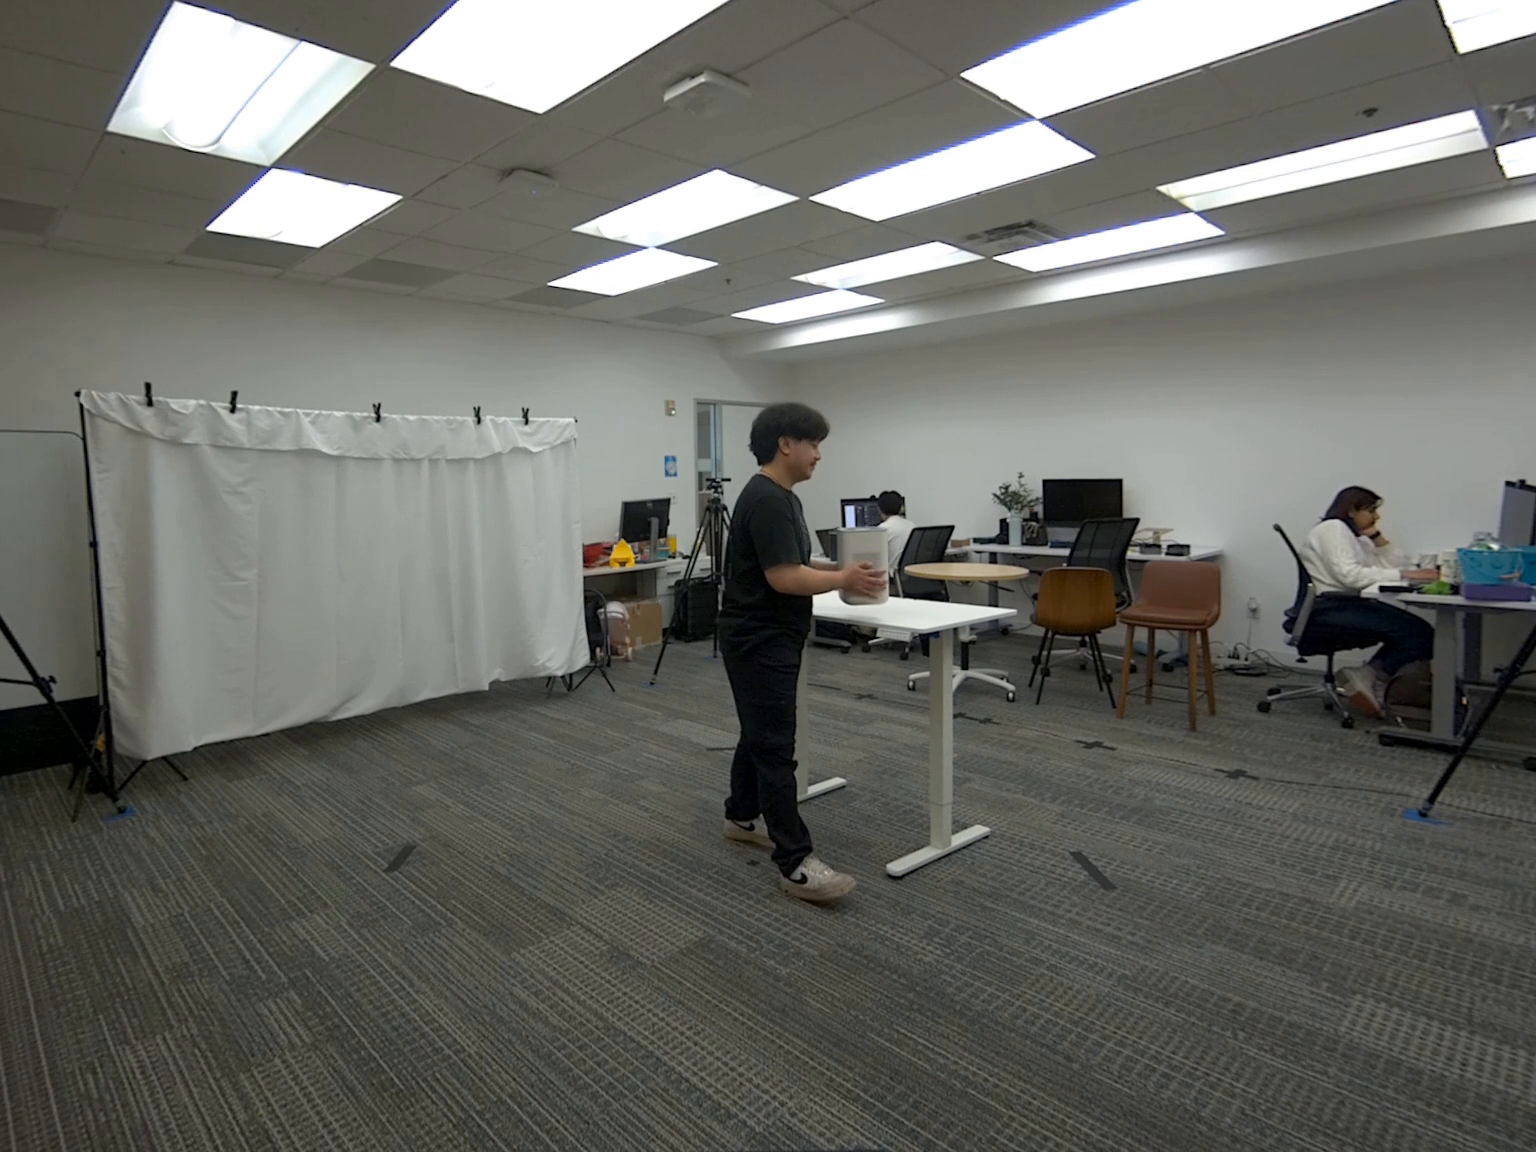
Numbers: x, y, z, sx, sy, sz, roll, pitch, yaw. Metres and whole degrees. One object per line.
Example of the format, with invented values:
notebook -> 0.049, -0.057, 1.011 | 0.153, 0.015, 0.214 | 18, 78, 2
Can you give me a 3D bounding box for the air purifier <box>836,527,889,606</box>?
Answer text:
air purifier -> 0.336, -0.036, 3.035 | 0.171, 0.264, 0.172 | -2, 4, -1
